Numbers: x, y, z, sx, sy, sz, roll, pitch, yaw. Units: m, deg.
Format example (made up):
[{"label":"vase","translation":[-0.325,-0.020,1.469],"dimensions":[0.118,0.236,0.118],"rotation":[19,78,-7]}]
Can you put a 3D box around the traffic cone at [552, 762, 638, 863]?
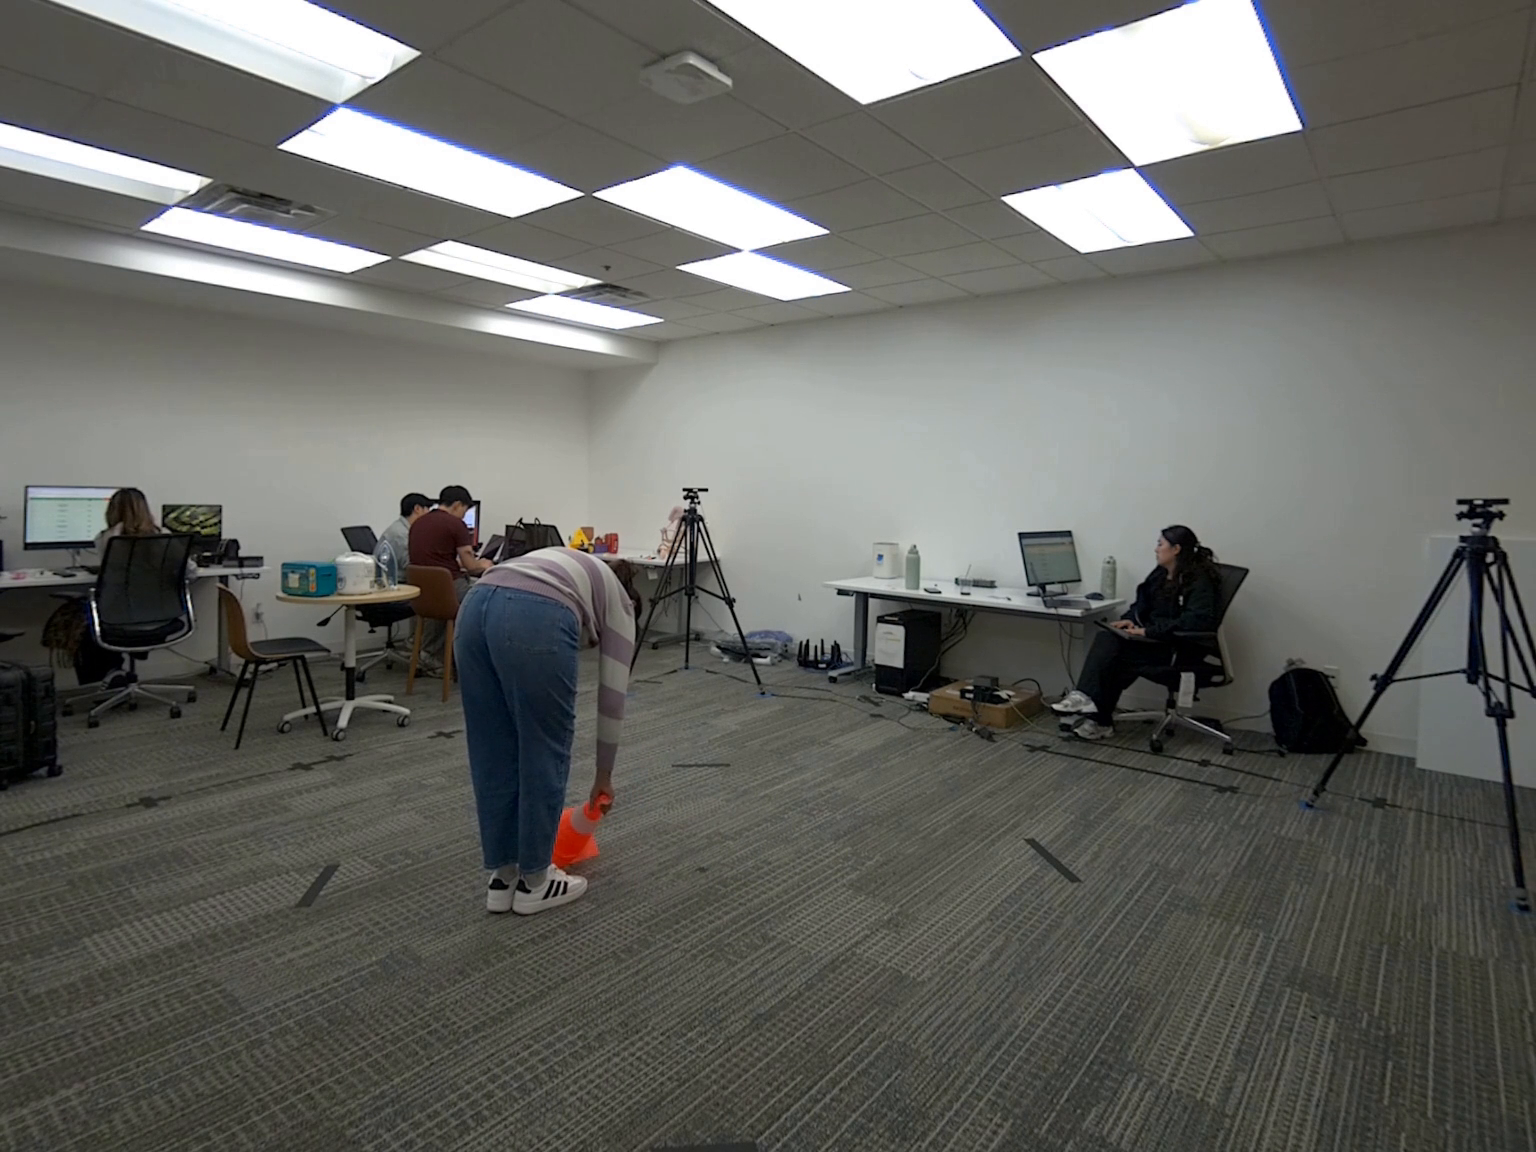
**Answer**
[{"label":"traffic cone","translation":[-0.663,0.863,3.072],"dimensions":[0.197,0.212,0.382],"rotation":[7,-41,-32]}]
